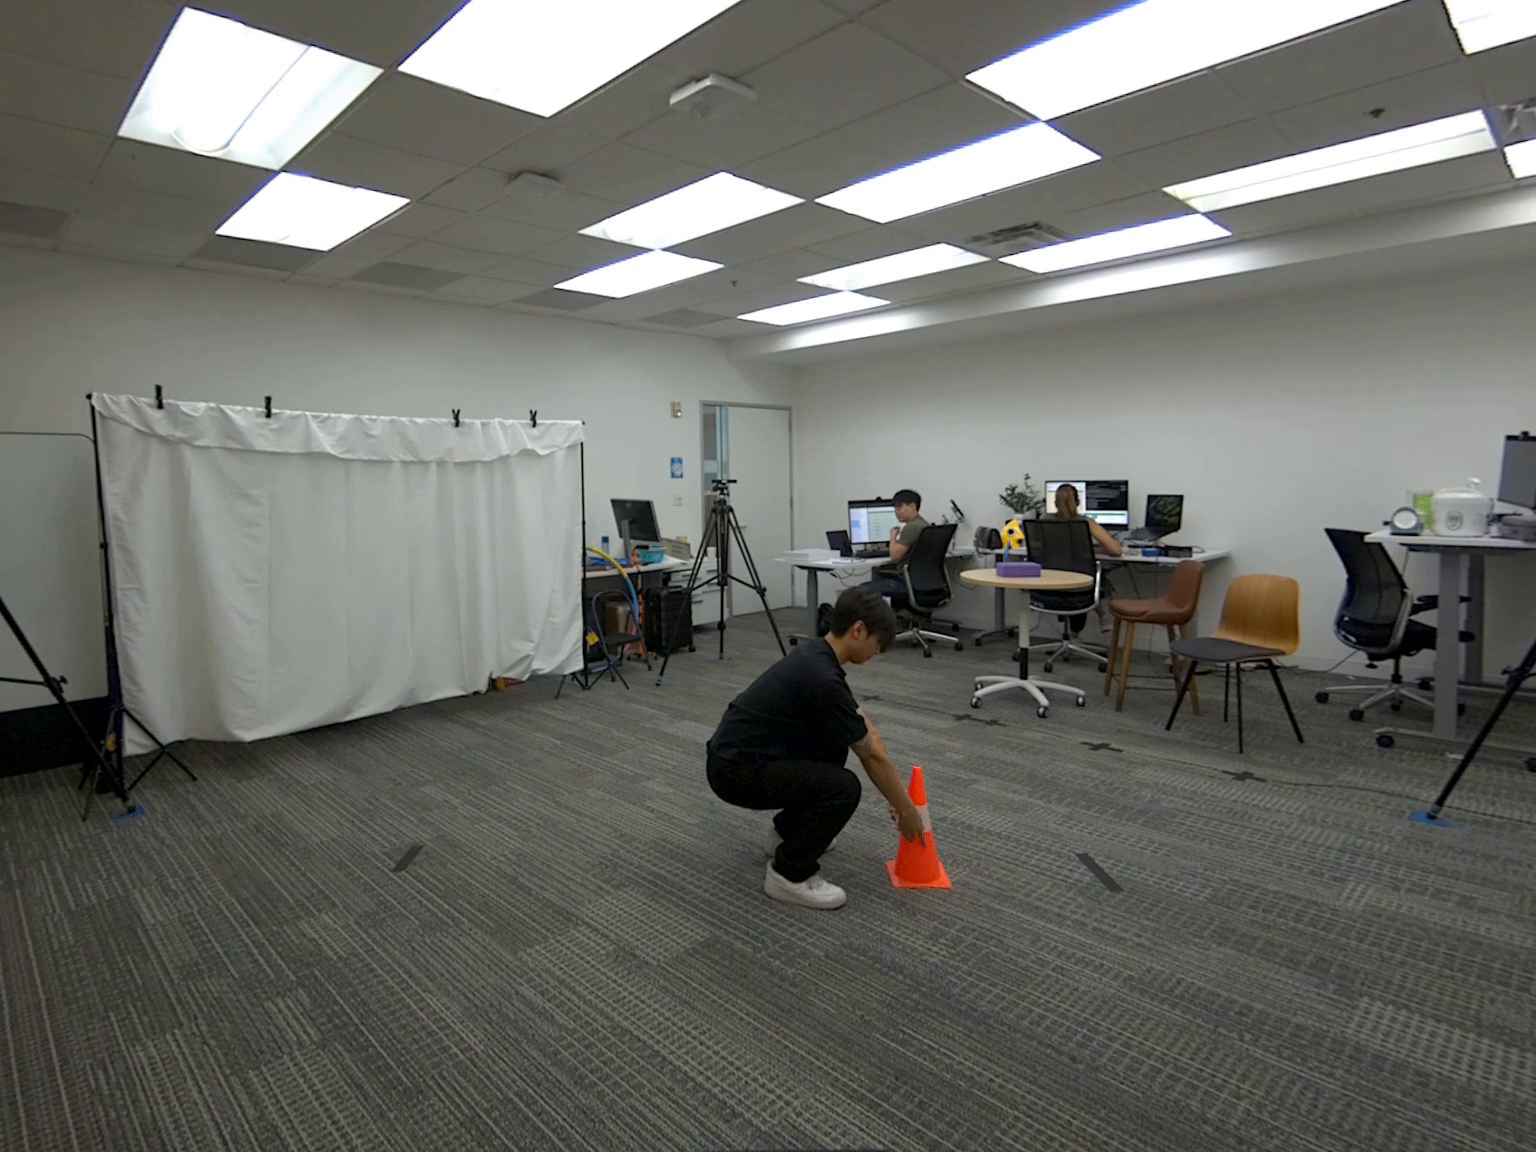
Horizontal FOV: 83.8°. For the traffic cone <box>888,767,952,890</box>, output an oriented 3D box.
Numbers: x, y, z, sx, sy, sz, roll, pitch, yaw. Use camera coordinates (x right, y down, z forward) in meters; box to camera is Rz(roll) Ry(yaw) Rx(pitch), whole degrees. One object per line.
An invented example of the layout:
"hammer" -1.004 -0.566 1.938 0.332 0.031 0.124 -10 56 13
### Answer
"traffic cone" 0.519 0.863 2.992 0.204 0.383 0.205 -4 3 3
